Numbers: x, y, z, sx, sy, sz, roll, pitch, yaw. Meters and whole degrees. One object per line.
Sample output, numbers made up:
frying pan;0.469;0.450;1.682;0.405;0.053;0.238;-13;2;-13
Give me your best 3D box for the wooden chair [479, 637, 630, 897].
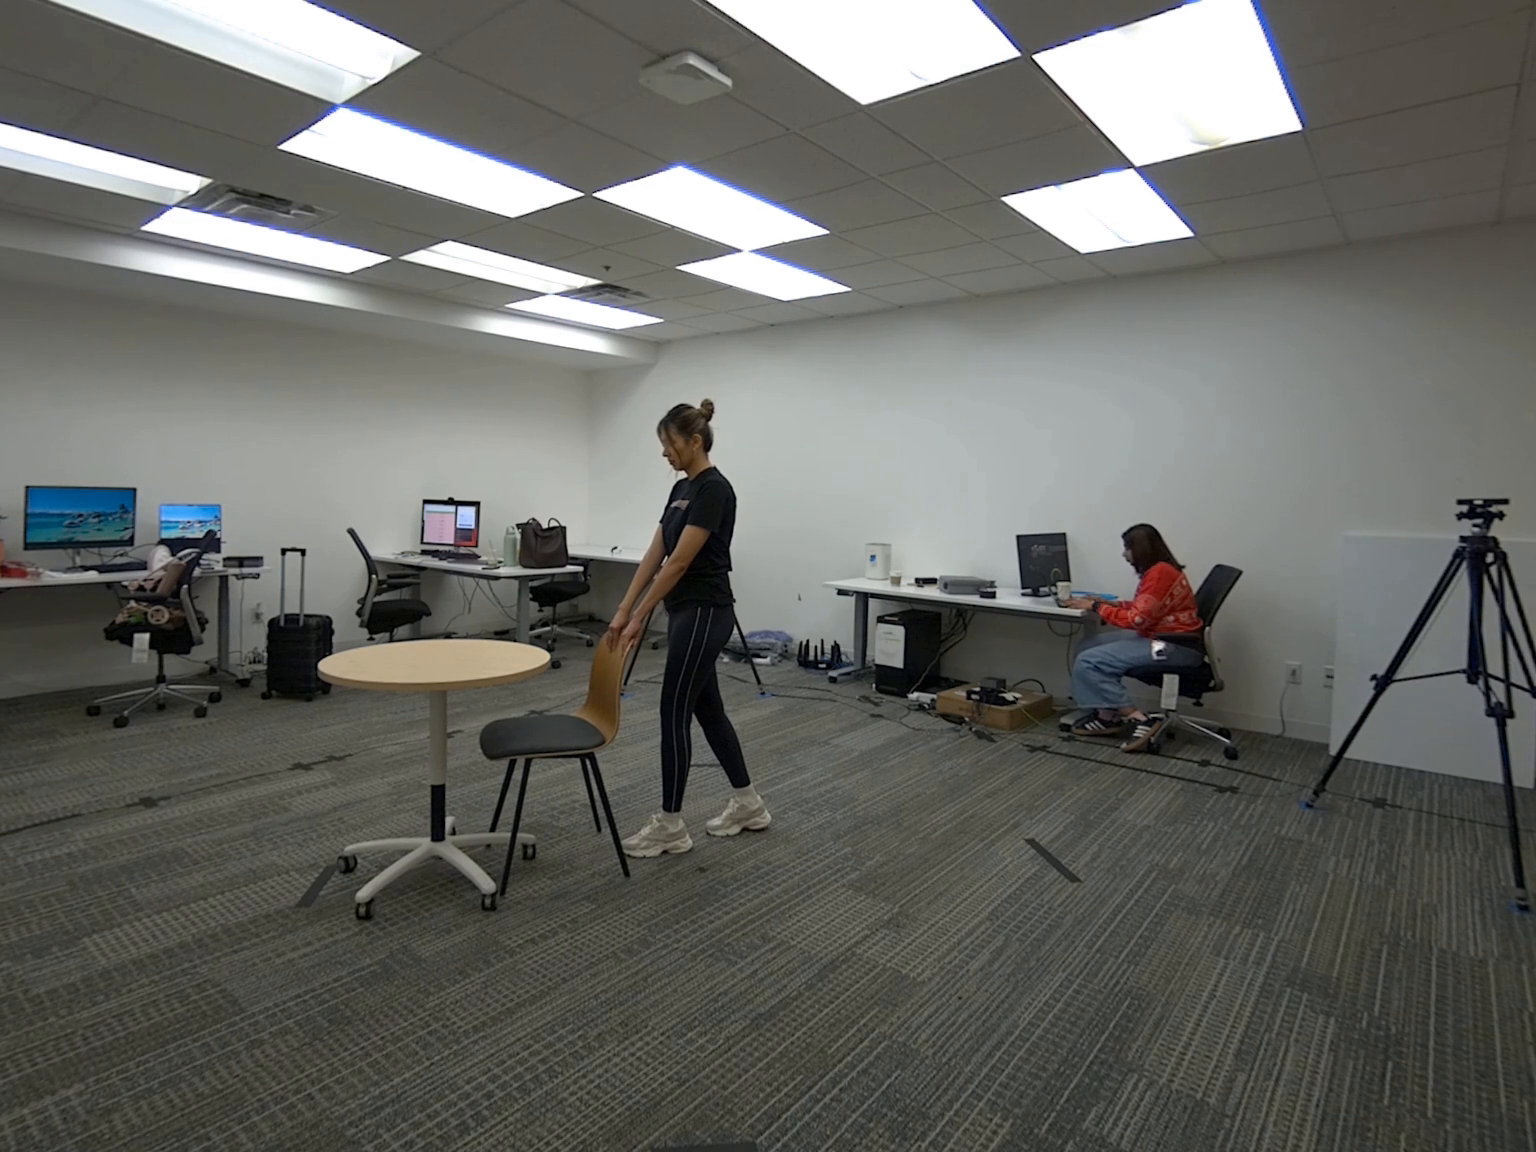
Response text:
wooden chair;-0.798;0.630;3.128;0.511;0.876;0.490;4;2;-23
